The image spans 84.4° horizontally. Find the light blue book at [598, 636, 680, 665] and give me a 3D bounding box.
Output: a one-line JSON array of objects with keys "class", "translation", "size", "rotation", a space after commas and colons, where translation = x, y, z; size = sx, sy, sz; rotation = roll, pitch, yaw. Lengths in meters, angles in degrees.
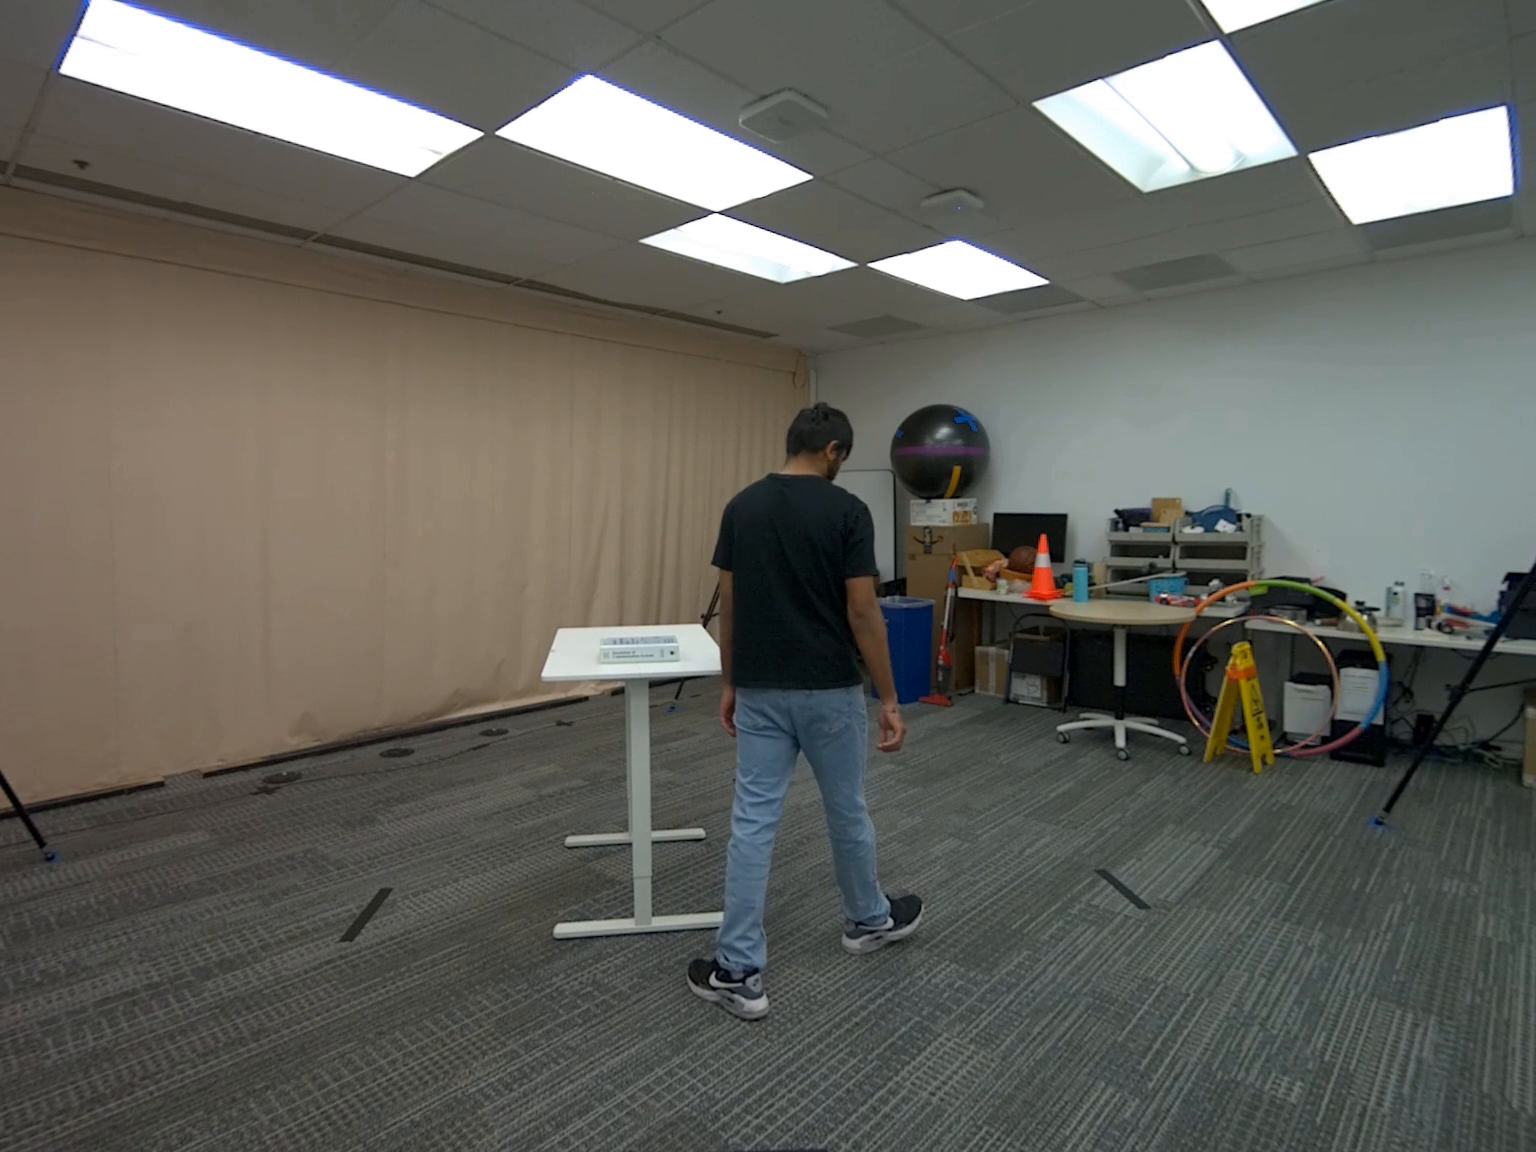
[{"class": "light blue book", "translation": [-0.445, 0.251, 2.846], "size": [0.259, 0.059, 0.193], "rotation": [0, 4, -7]}]
